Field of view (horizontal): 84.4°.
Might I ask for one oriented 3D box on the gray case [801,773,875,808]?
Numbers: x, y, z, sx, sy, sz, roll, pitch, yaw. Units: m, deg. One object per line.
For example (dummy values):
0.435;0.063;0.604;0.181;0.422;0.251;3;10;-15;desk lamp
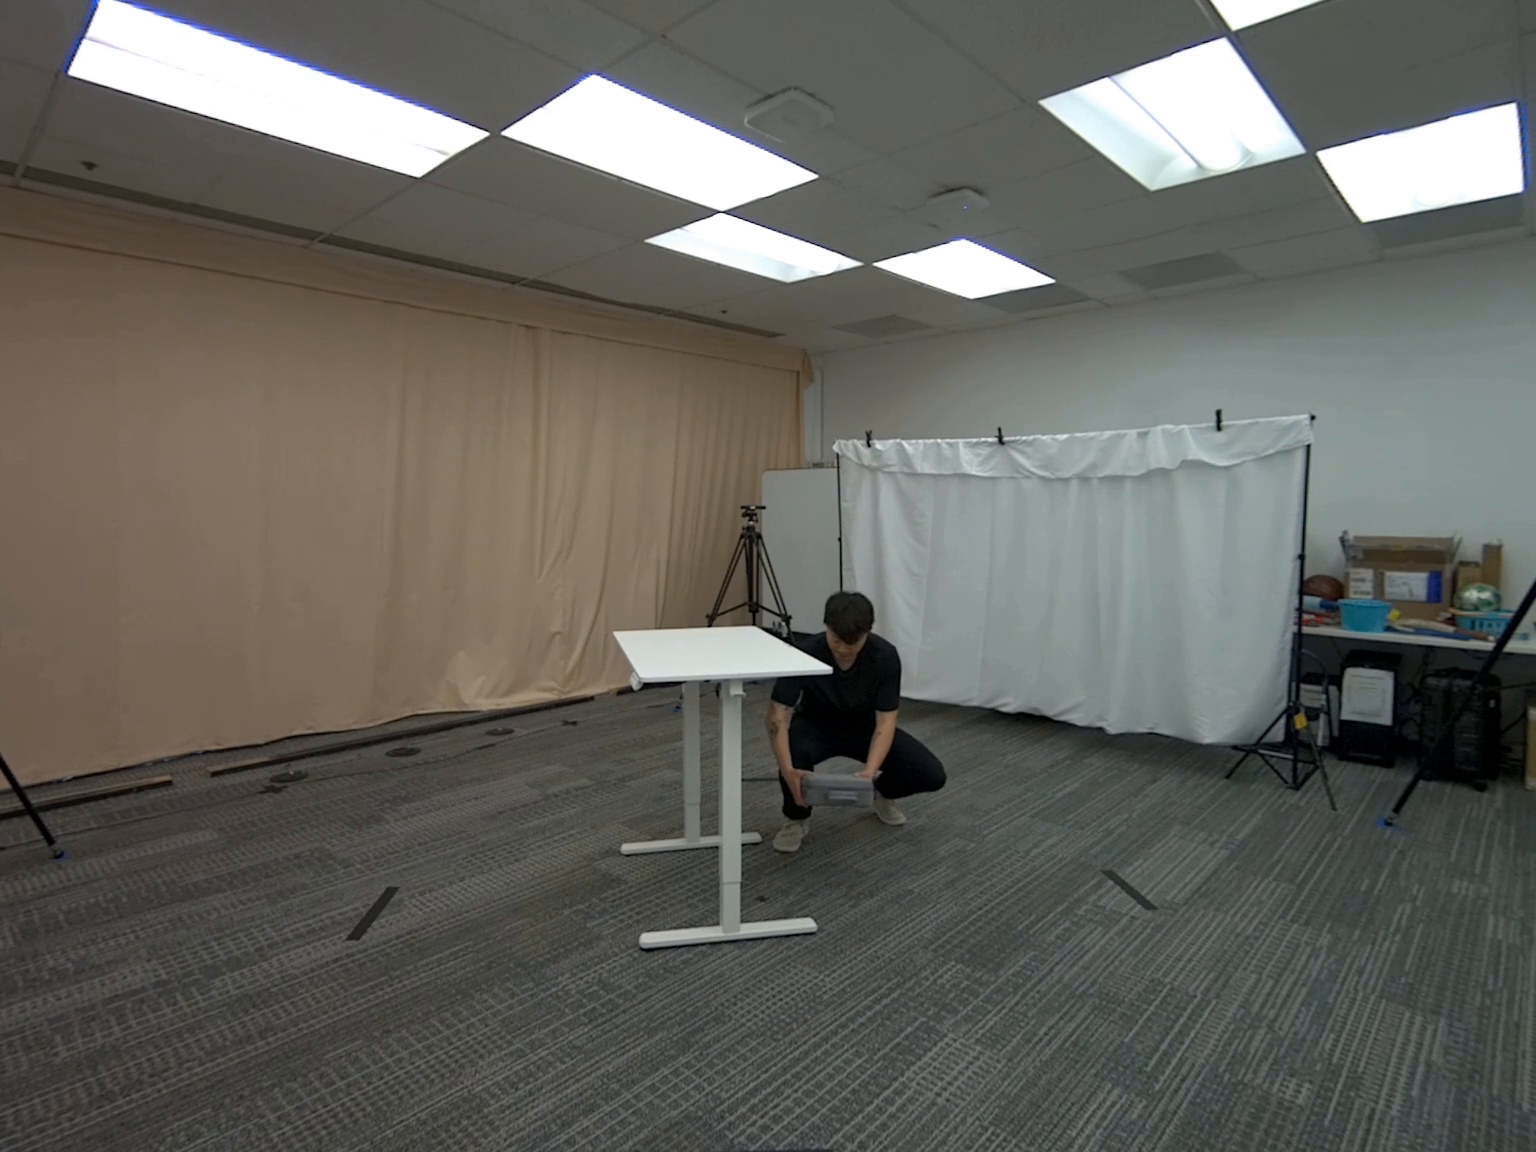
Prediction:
0.256;0.804;3.177;0.256;0.105;0.260;4;-9;-3;gray case
